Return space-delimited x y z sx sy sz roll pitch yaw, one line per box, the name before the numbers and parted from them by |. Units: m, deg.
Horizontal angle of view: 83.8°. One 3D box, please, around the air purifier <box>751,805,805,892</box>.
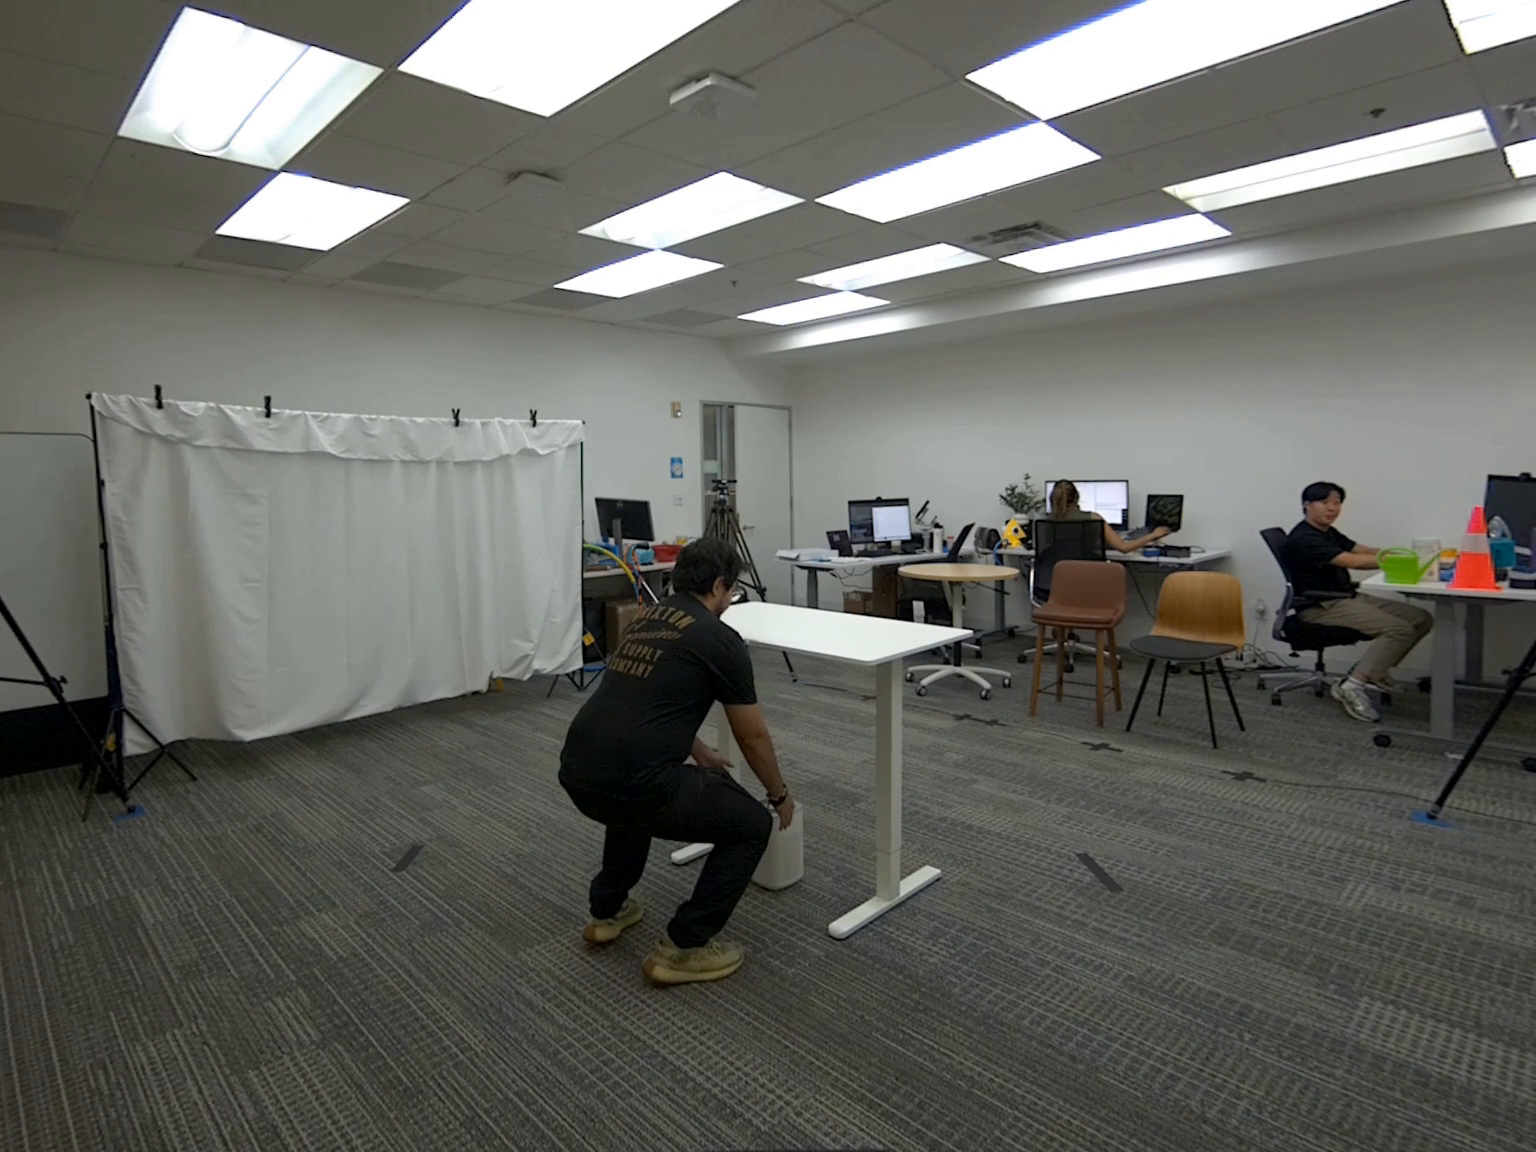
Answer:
air purifier | 0.024 0.923 2.975 0.176 0.264 0.167 3 6 45
